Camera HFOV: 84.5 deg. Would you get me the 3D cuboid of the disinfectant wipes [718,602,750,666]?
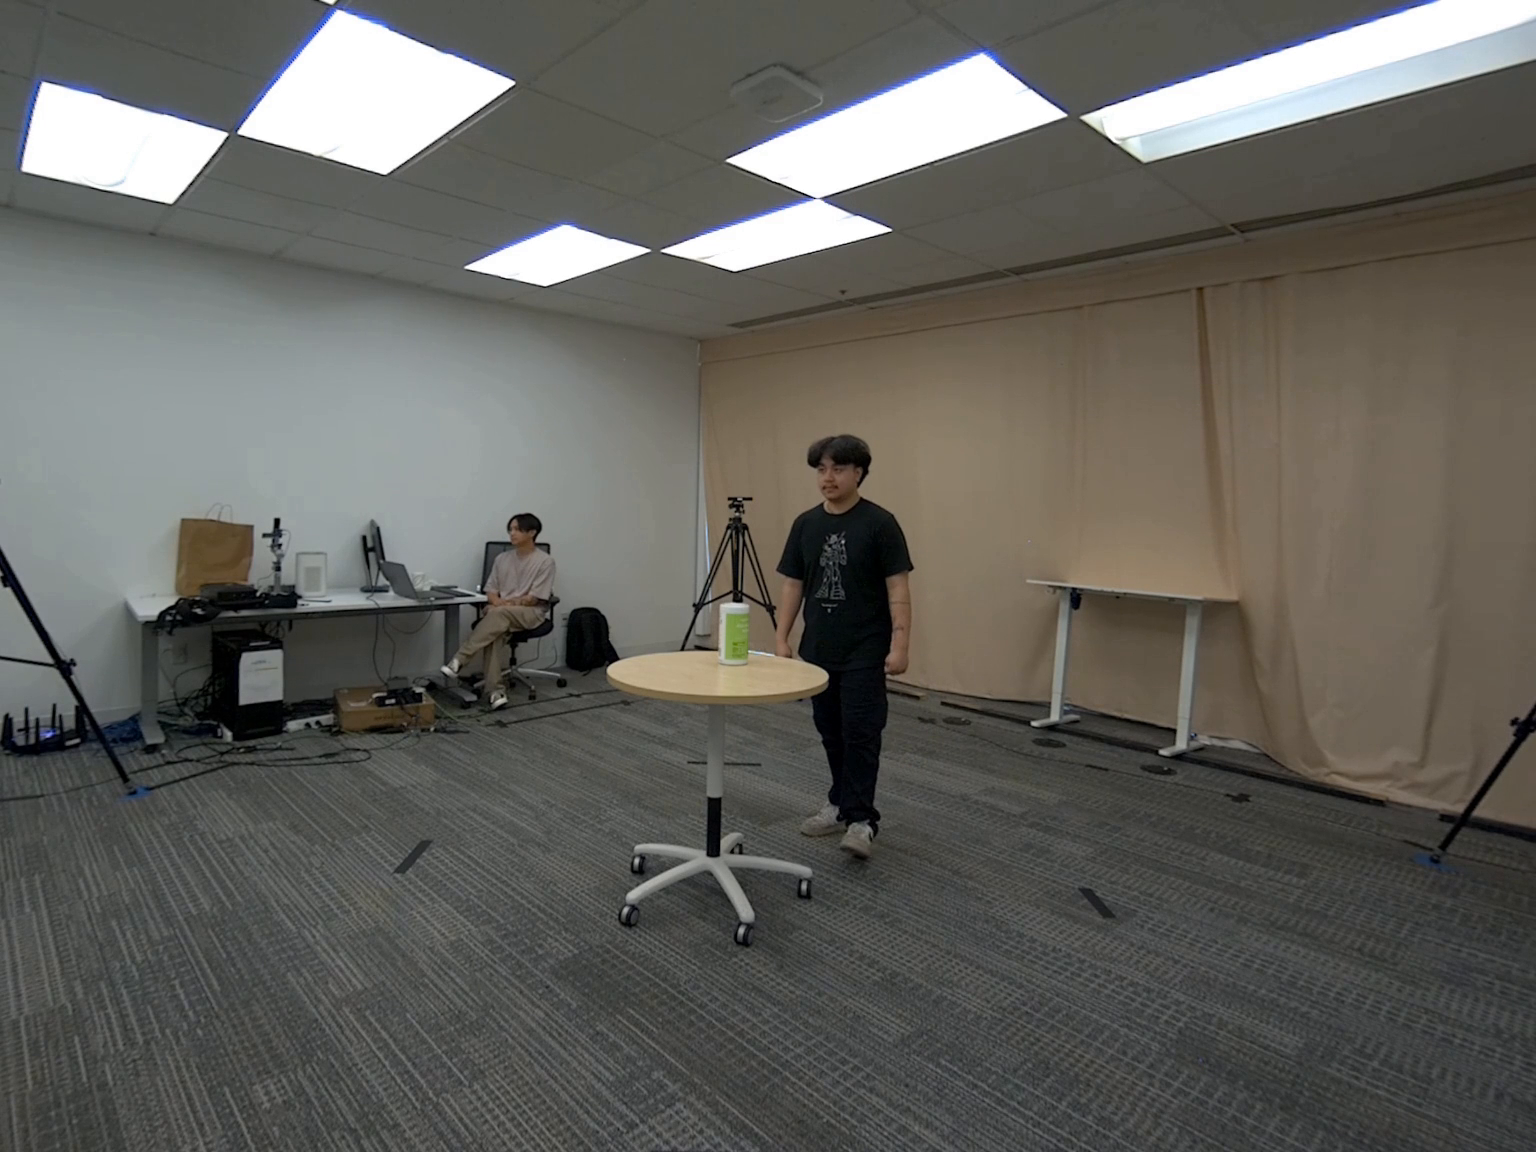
[{"bbox_3d":[-0.133,0.213,3.065,0.118,0.217,0.118,3,3,-2],"label":"disinfectant wipes"}]
